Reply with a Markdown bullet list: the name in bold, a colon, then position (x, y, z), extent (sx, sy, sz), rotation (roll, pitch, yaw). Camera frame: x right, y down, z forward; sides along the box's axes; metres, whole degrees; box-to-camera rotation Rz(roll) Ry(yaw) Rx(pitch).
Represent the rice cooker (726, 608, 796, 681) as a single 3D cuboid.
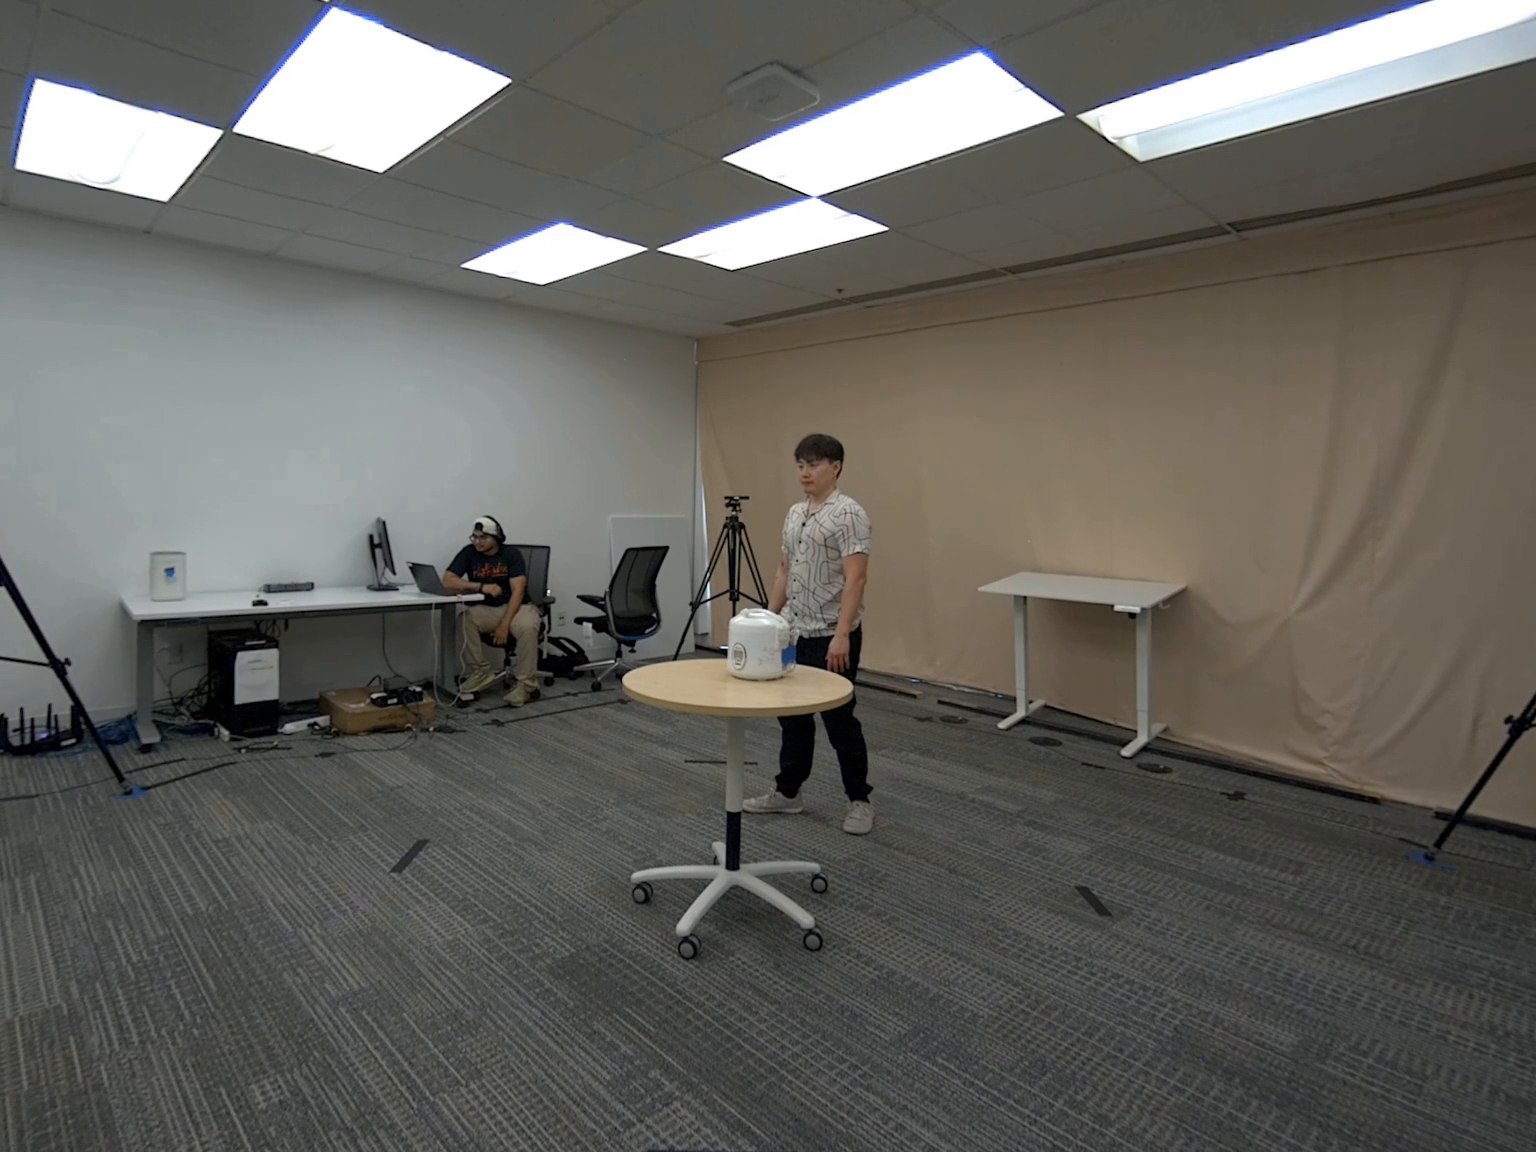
- **rice cooker**: position (-0.036, 0.230, 2.883), extent (0.226, 0.232, 0.212), rotation (5, 4, 38)
